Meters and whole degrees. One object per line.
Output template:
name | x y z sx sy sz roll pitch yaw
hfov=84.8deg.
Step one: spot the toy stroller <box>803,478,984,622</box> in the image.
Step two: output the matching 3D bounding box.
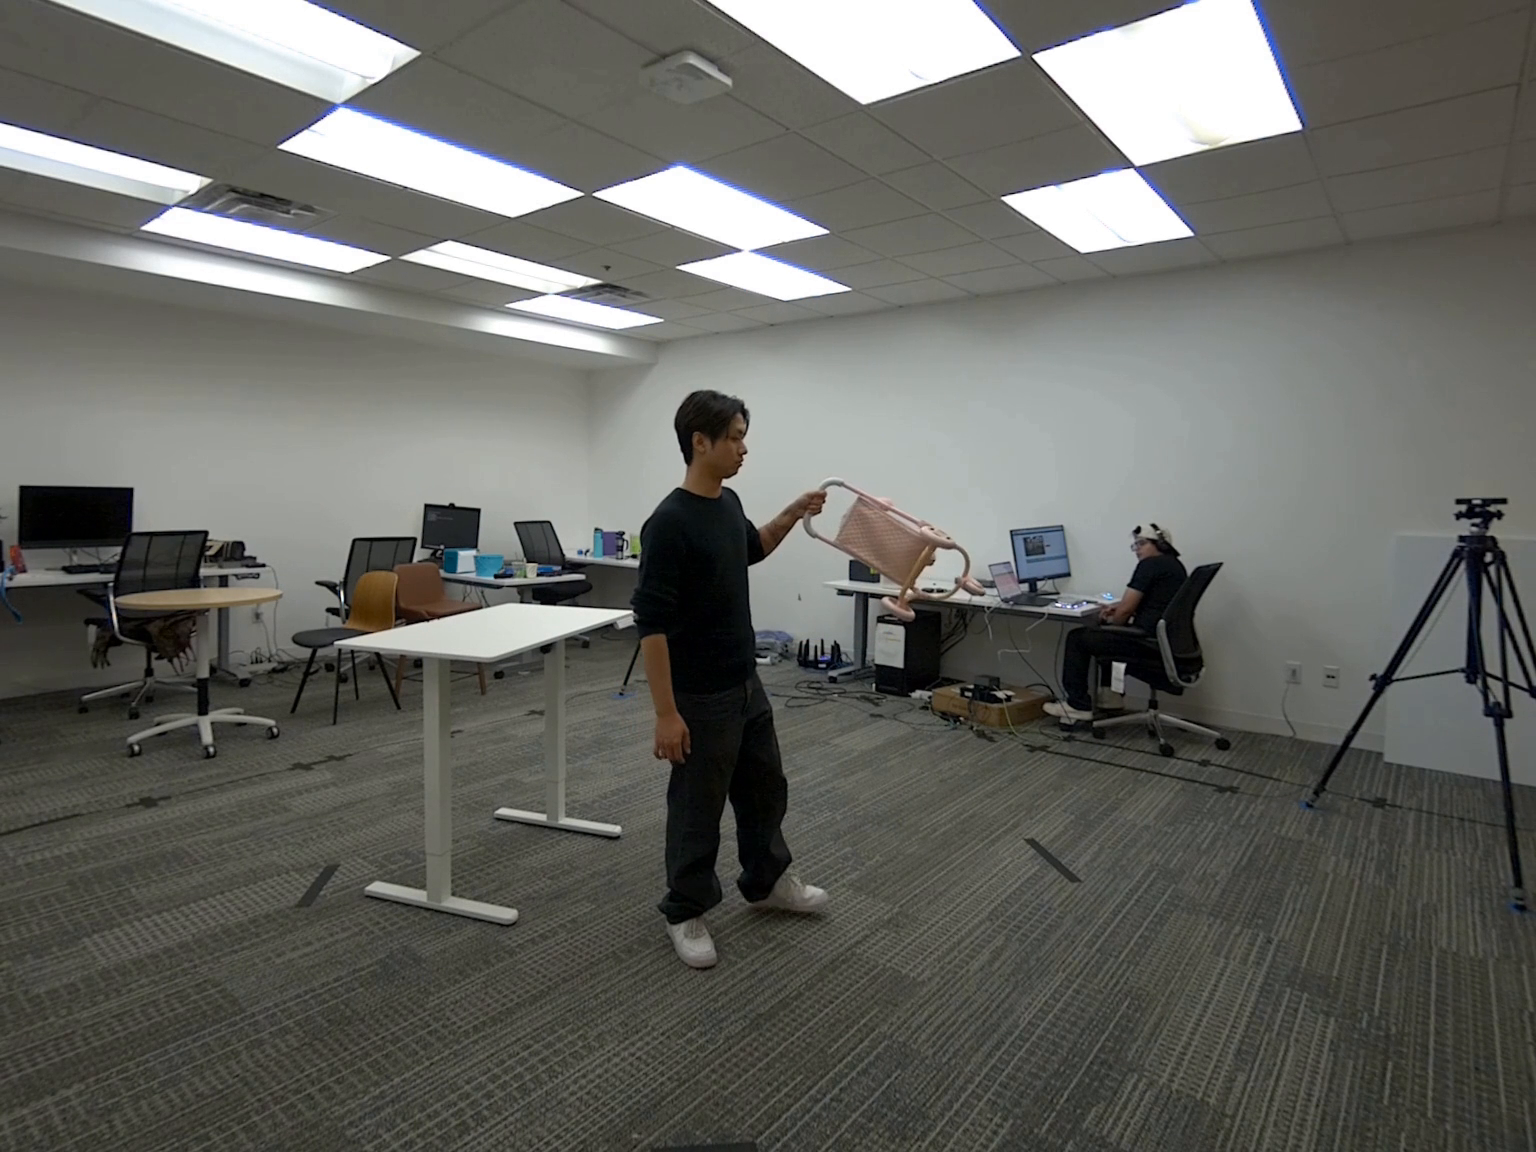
toy stroller | 0.403 -0.091 2.700 0.330 0.279 0.557 -1 32 -48
